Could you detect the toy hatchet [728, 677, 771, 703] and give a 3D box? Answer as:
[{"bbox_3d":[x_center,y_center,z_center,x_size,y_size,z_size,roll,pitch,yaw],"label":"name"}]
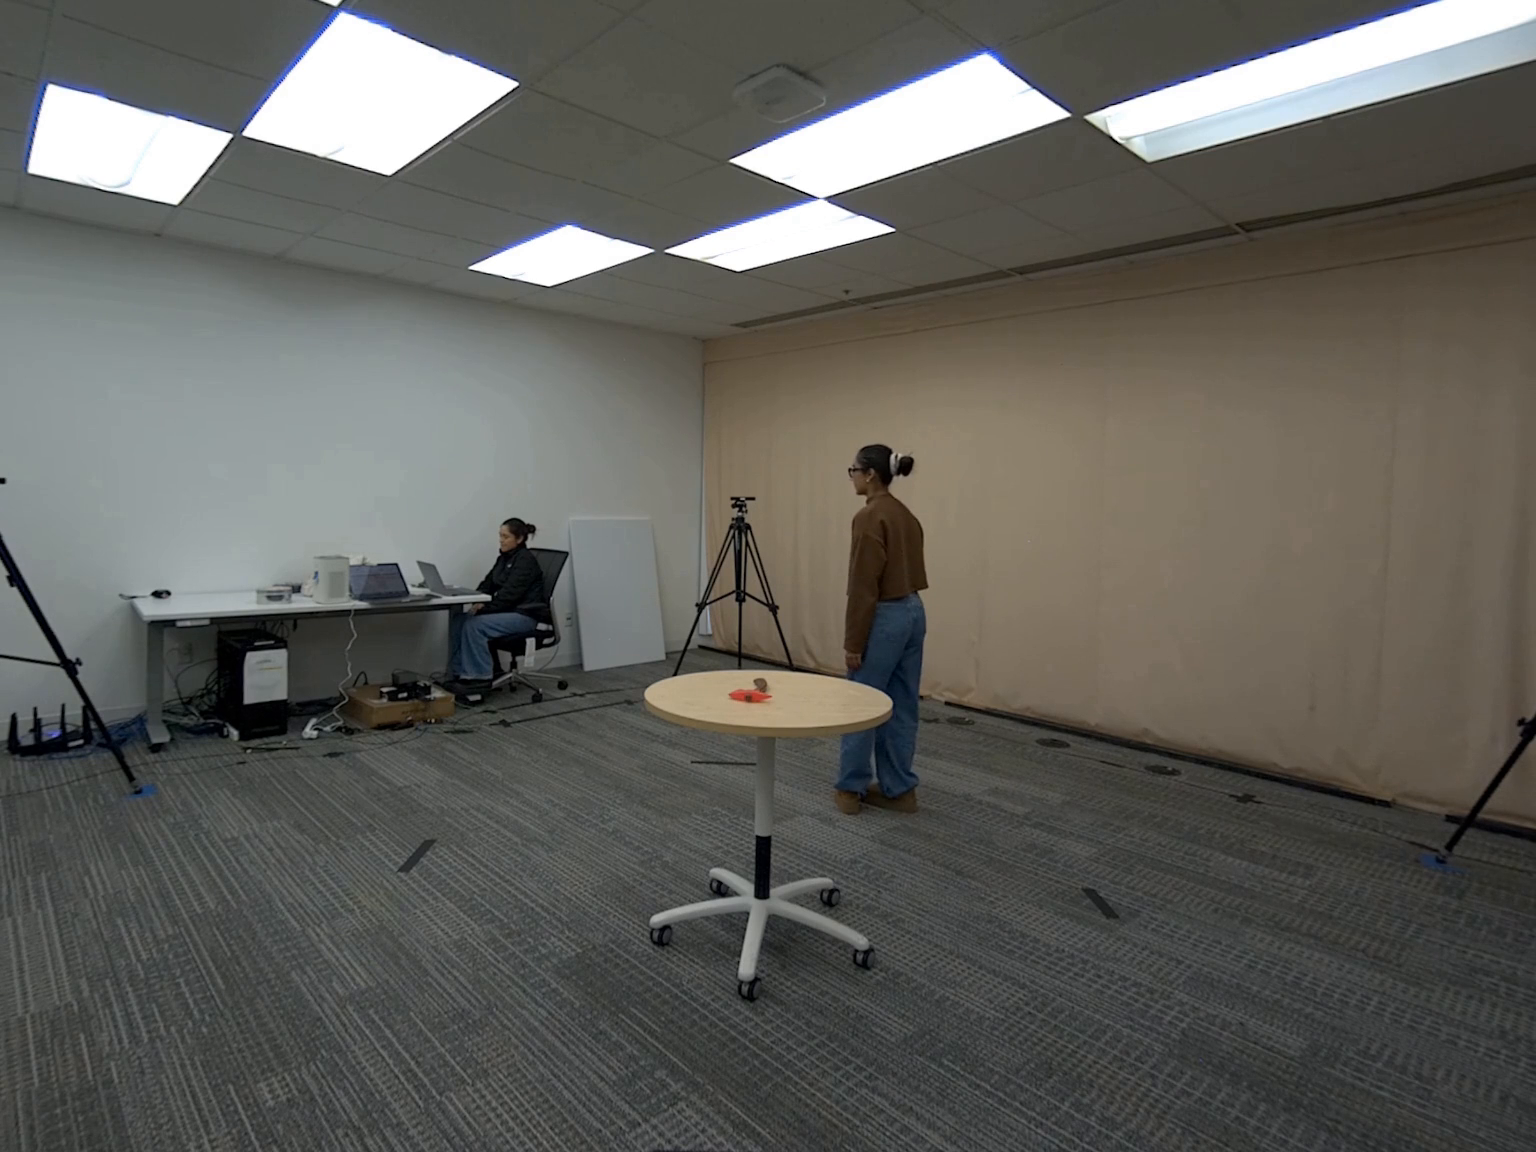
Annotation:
[{"bbox_3d":[-0.069,0.359,2.636,0.131,0.029,0.271,-3,3,-4],"label":"toy hatchet"}]
